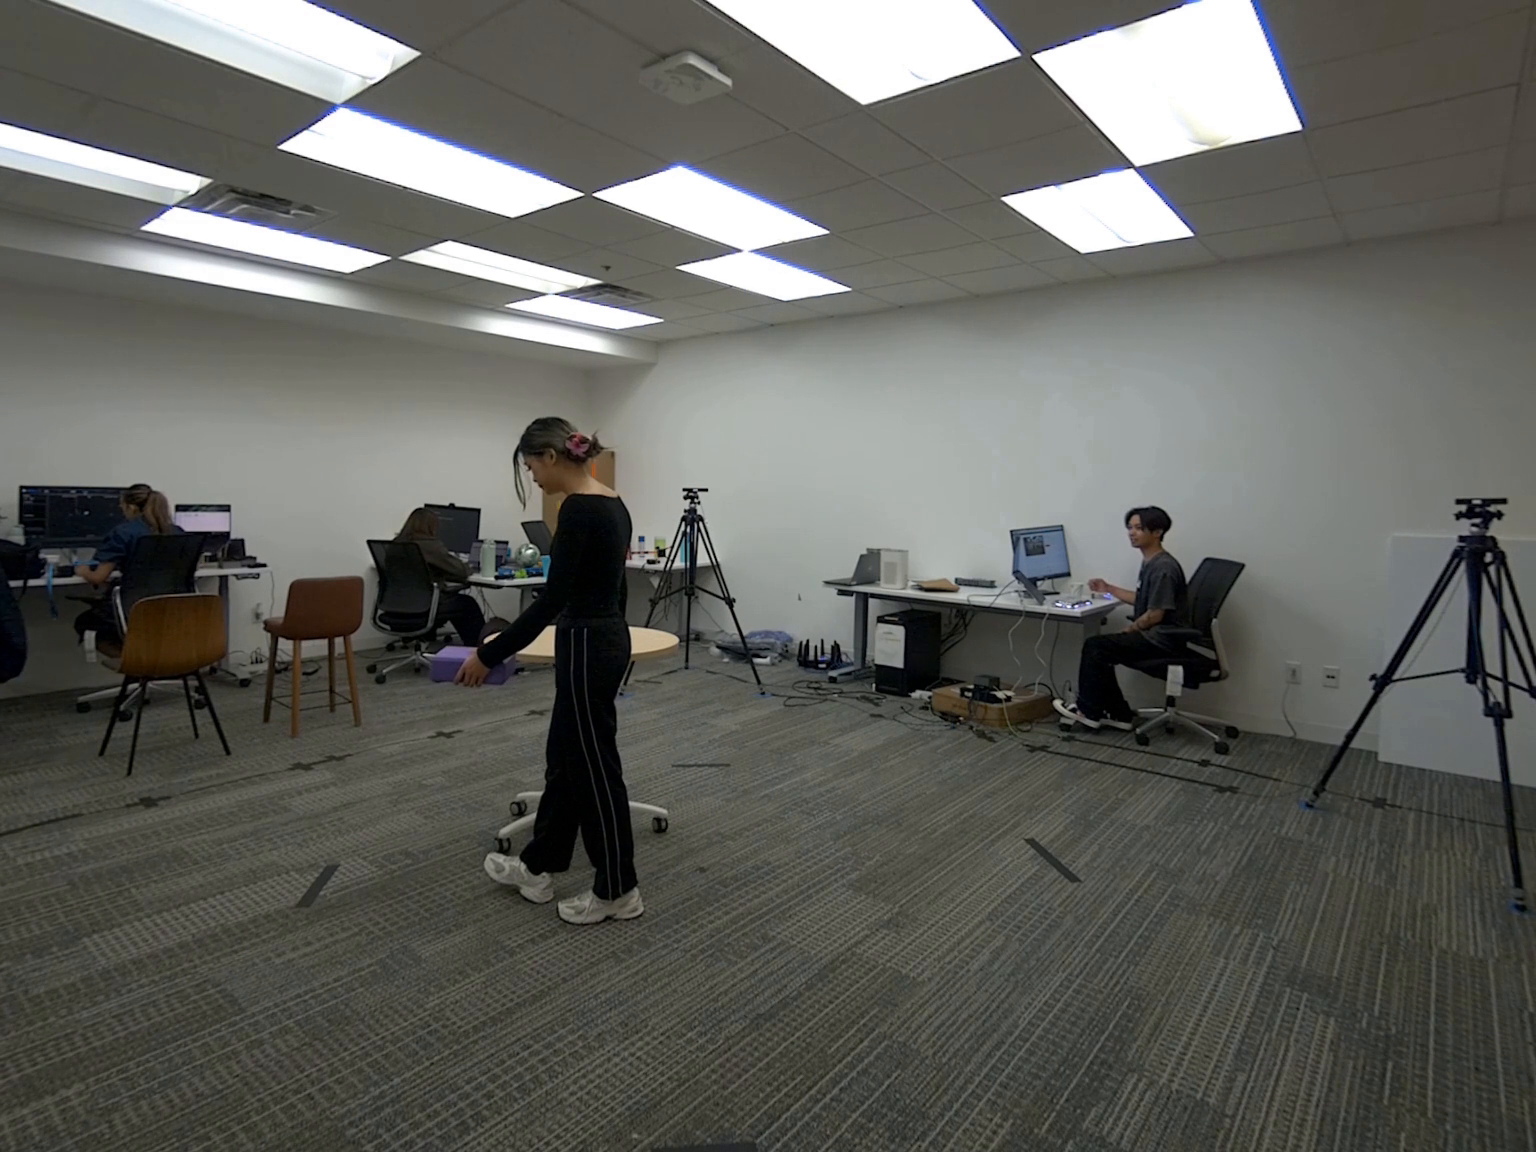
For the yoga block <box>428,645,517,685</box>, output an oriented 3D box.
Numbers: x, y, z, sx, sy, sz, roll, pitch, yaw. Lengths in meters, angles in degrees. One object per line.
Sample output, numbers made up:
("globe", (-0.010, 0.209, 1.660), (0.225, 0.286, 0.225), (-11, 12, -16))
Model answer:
("yoga block", (-0.927, 0.280, 2.634), (0.230, 0.076, 0.150), (4, 9, 1))
